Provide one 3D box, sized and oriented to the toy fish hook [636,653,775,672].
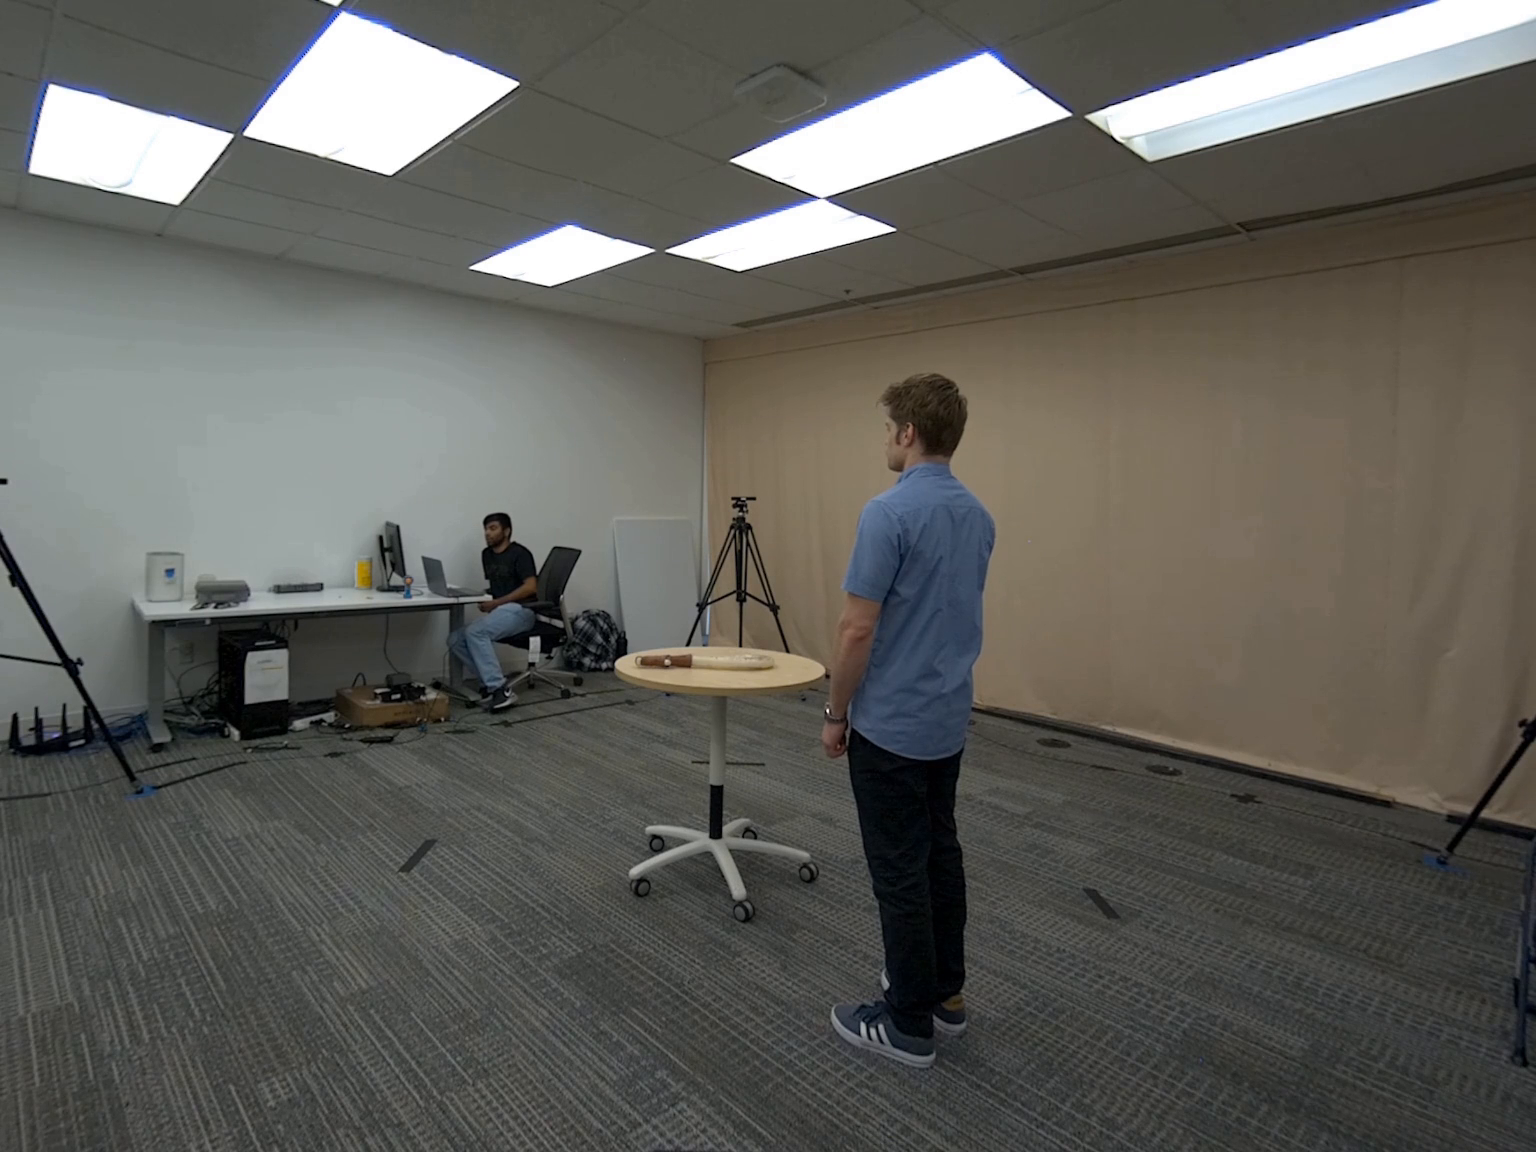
[{"bbox_3d":[-0.235,0.313,3.060,0.503,0.048,0.226,2,-2,-9],"label":"toy fish hook"}]
